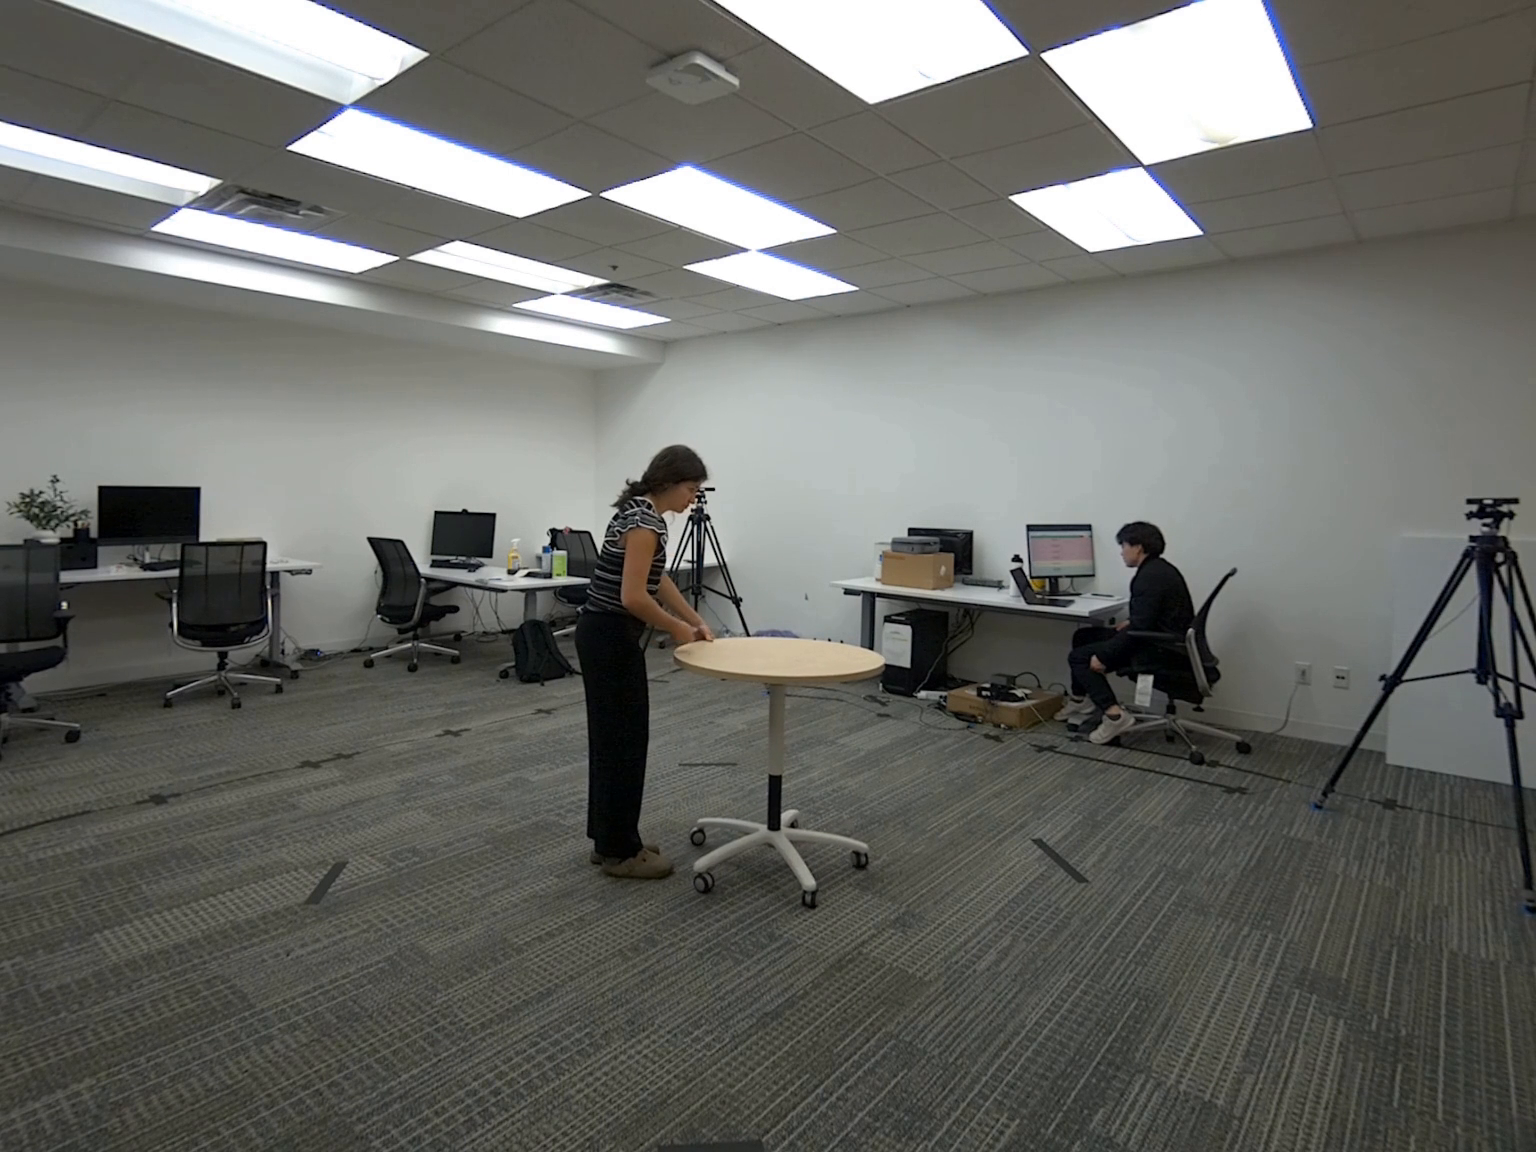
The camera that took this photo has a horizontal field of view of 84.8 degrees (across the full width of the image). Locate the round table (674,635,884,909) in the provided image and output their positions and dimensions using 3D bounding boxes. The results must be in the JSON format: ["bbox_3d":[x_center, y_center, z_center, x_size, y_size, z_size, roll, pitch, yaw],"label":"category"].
[{"bbox_3d":[0.031,0.676,3.122,0.784,0.784,0.789,1,4,-2],"label":"round table"}]
